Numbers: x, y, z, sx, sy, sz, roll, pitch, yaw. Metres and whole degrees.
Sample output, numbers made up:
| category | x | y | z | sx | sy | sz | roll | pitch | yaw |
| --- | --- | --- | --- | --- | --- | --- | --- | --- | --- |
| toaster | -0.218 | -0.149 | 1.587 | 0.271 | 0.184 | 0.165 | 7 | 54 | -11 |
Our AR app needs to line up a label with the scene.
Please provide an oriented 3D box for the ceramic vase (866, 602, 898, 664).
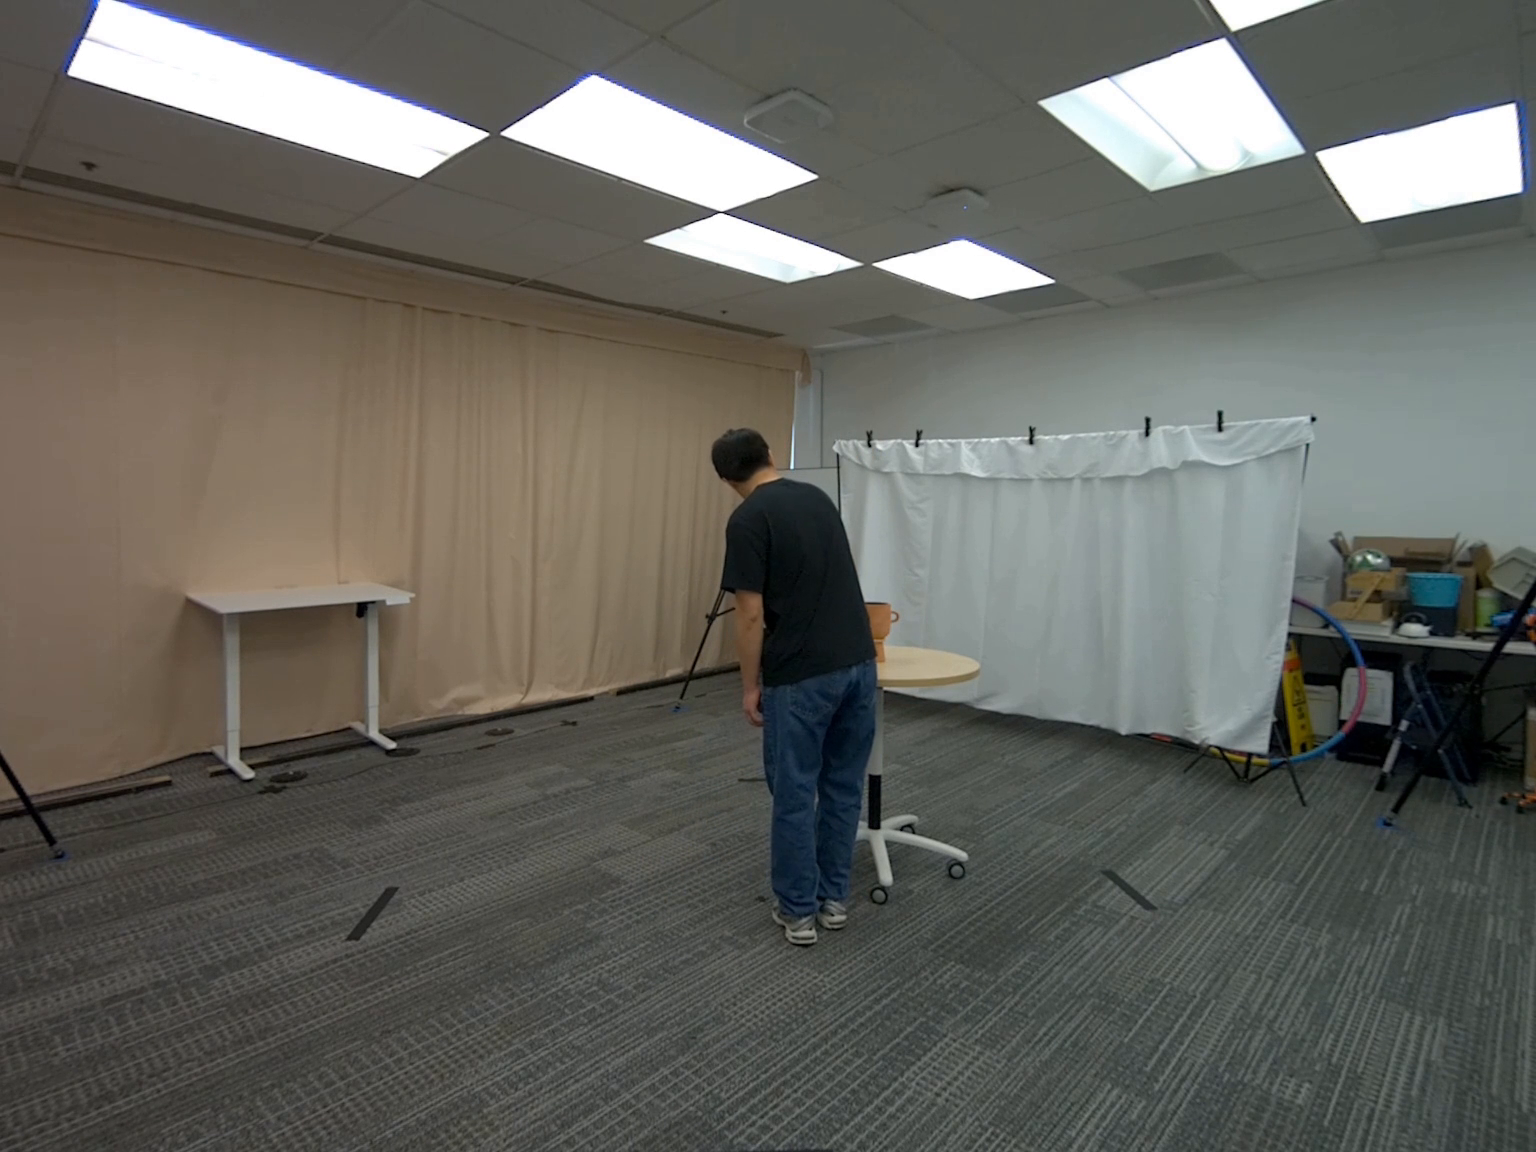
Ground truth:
| category | x | y | z | sx | sy | sz | roll | pitch | yaw |
| --- | --- | --- | --- | --- | --- | --- | --- | --- | --- |
| ceramic vase | 0.408 | 0.216 | 3.232 | 0.130 | 0.219 | 0.164 | -1 | 5 | -39 |
